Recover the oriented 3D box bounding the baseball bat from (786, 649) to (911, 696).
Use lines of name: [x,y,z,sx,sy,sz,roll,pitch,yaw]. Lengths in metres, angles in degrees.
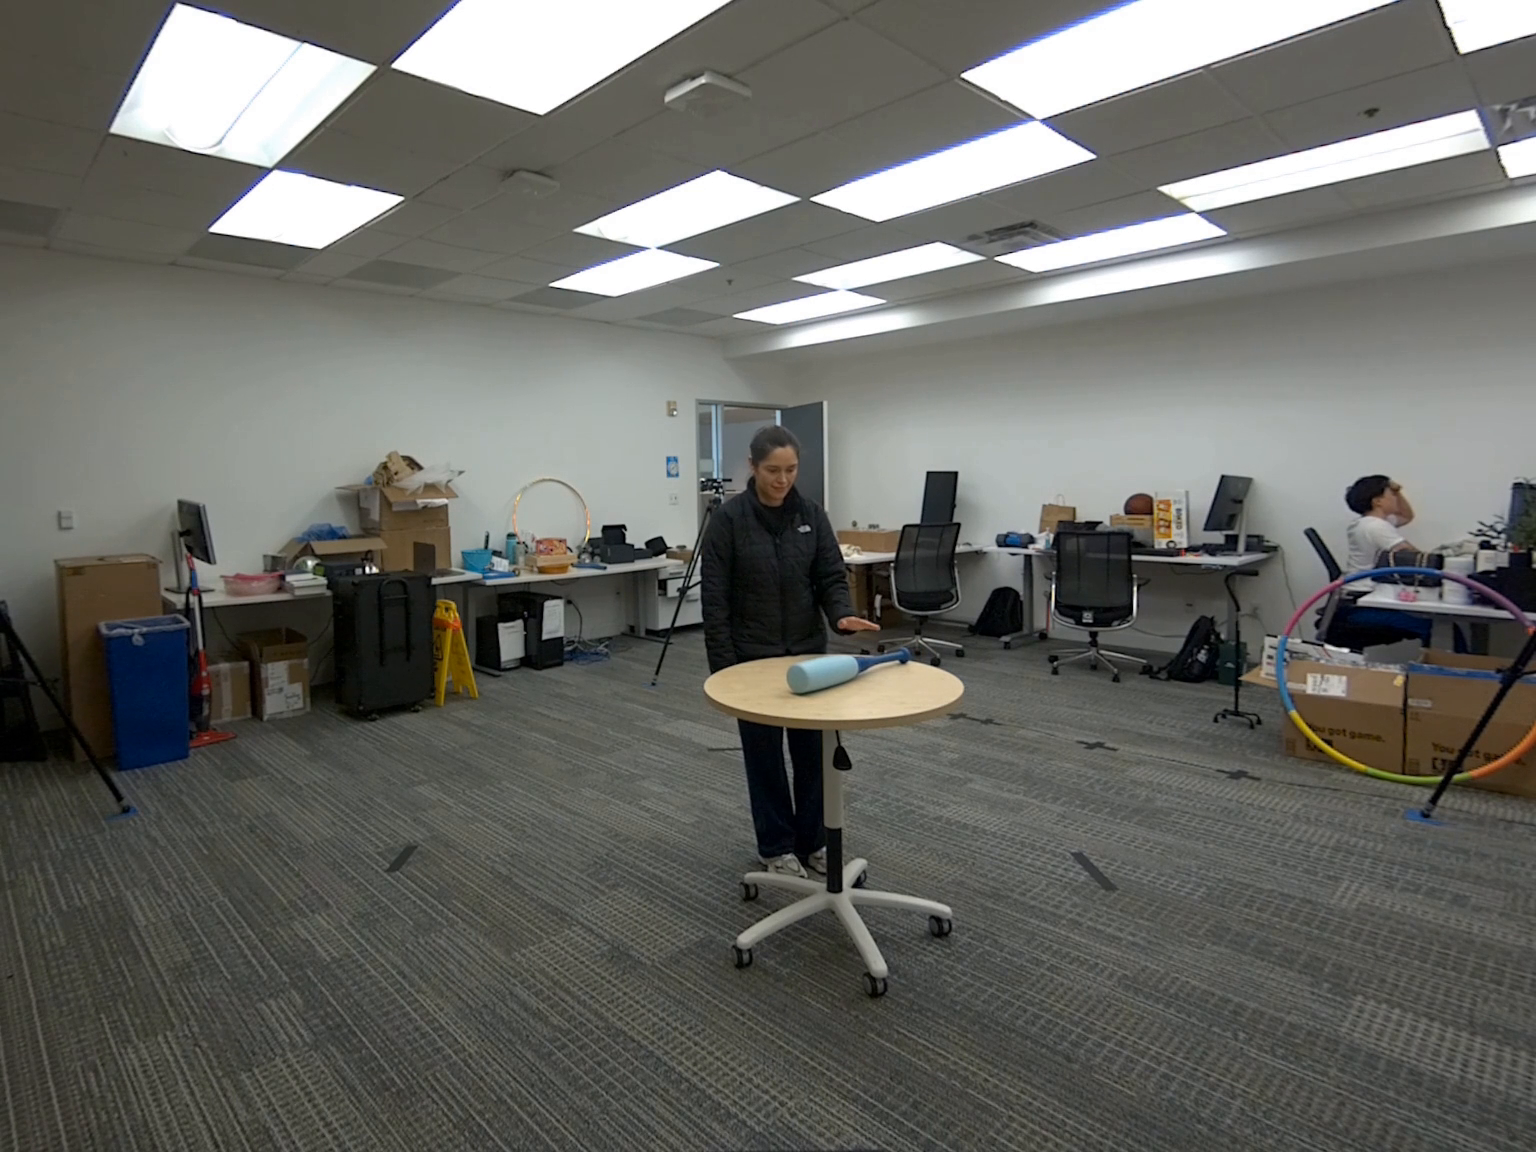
baseball bat: [0.256,0.275,2.621,0.092,0.089,0.528,4,6,44]
